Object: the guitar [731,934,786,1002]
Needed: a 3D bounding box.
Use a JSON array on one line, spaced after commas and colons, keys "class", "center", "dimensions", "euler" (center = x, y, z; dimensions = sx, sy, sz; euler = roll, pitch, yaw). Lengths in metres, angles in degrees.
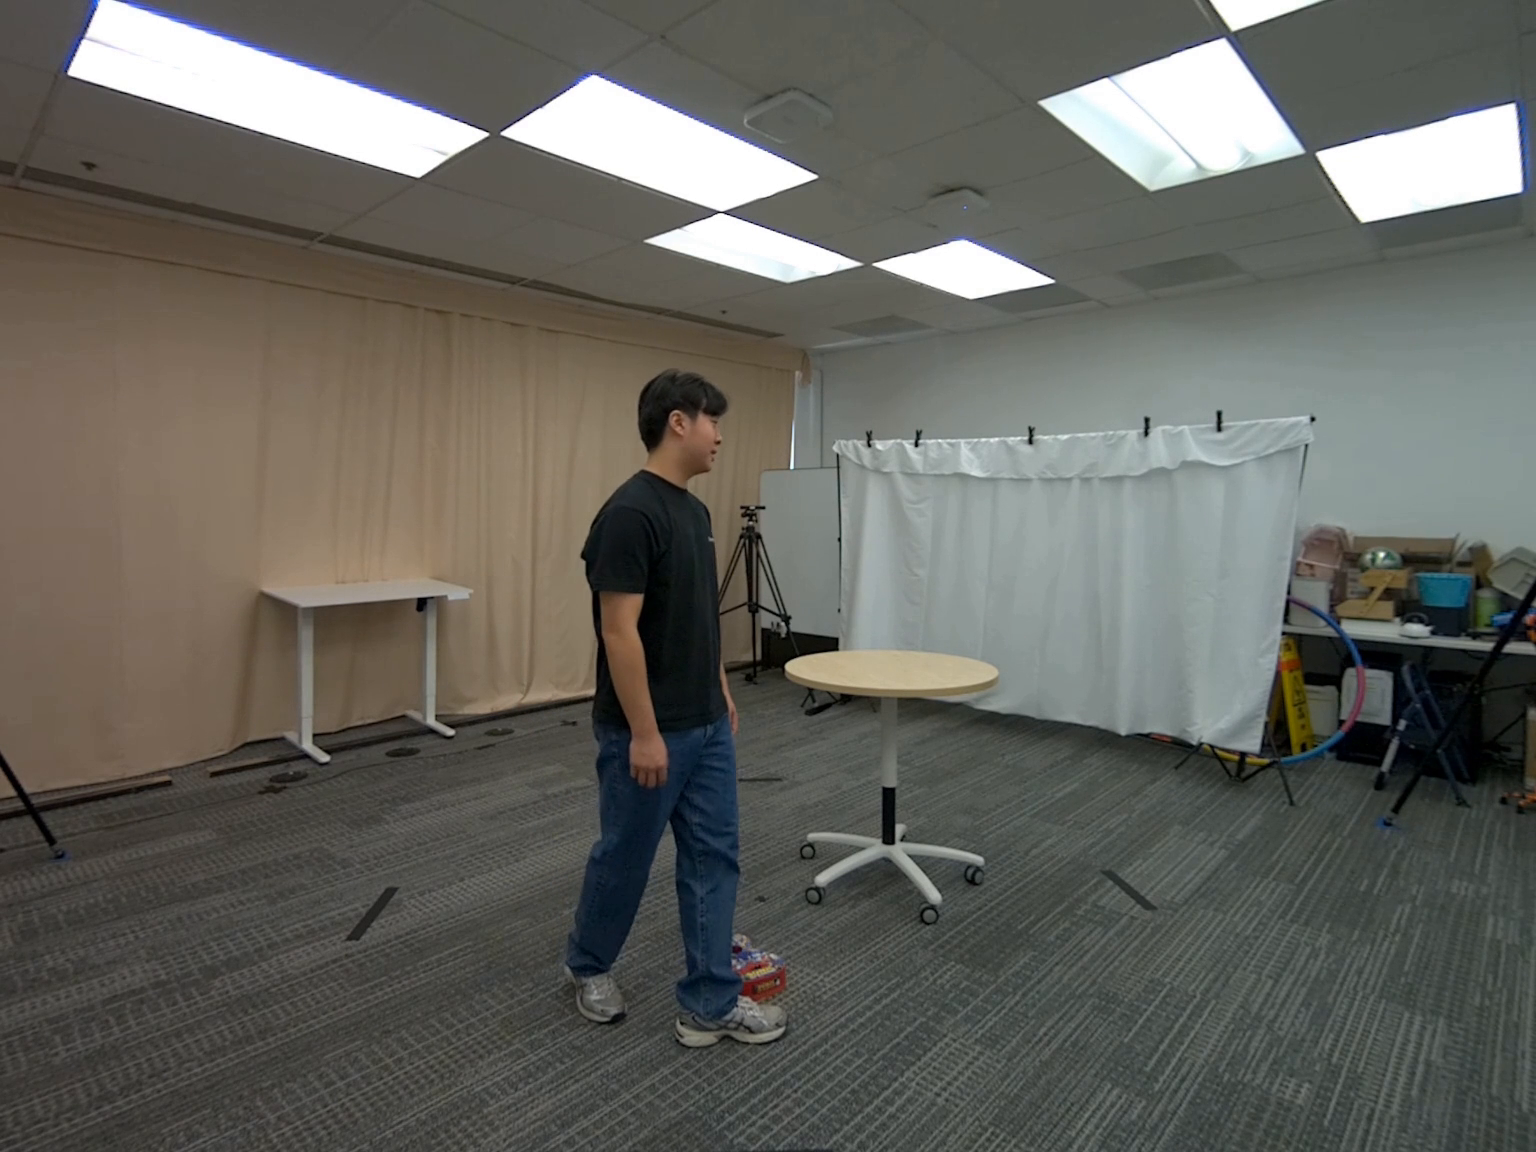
[{"class": "guitar", "center": [-0.109, 1.144, 2.604], "dimensions": [0.189, 0.070, 0.510], "euler": [-3, 5, -23]}]
